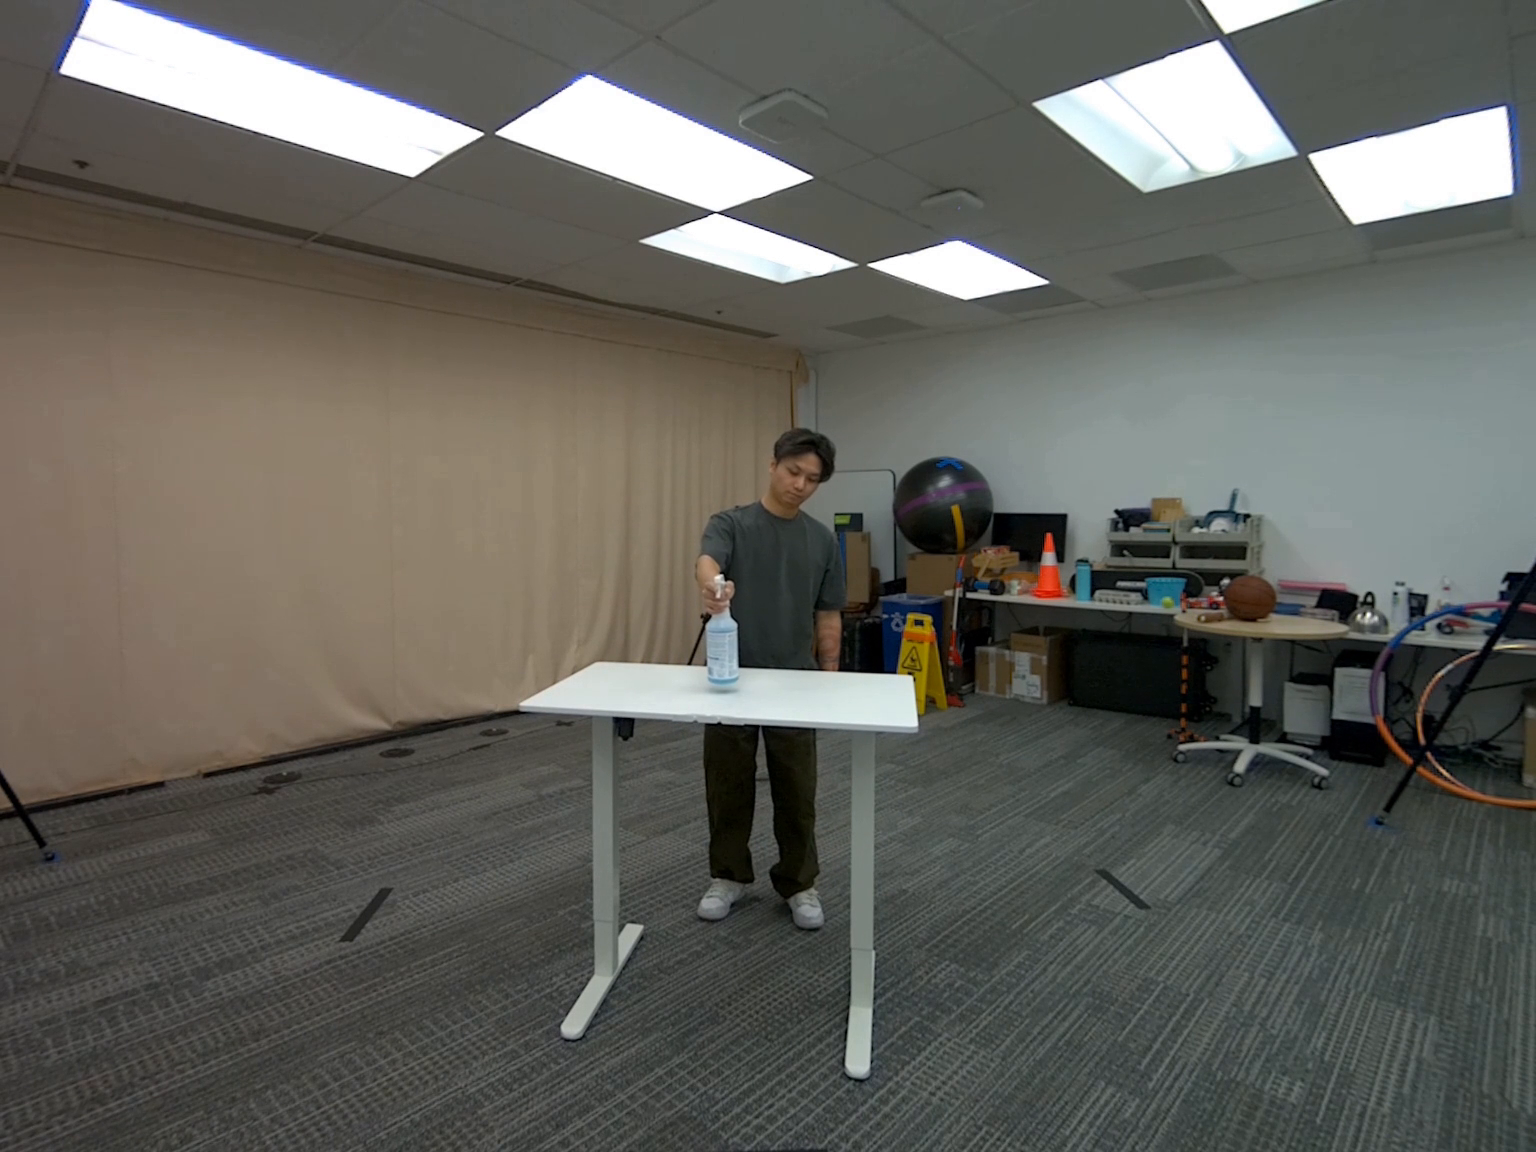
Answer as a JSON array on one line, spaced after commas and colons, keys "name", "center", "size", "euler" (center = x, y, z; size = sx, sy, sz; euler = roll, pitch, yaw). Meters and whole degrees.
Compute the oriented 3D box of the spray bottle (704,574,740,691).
[{"name": "spray bottle", "center": [-0.126, 0.145, 2.300], "size": [0.090, 0.296, 0.088], "euler": [4, 9, 32]}]
